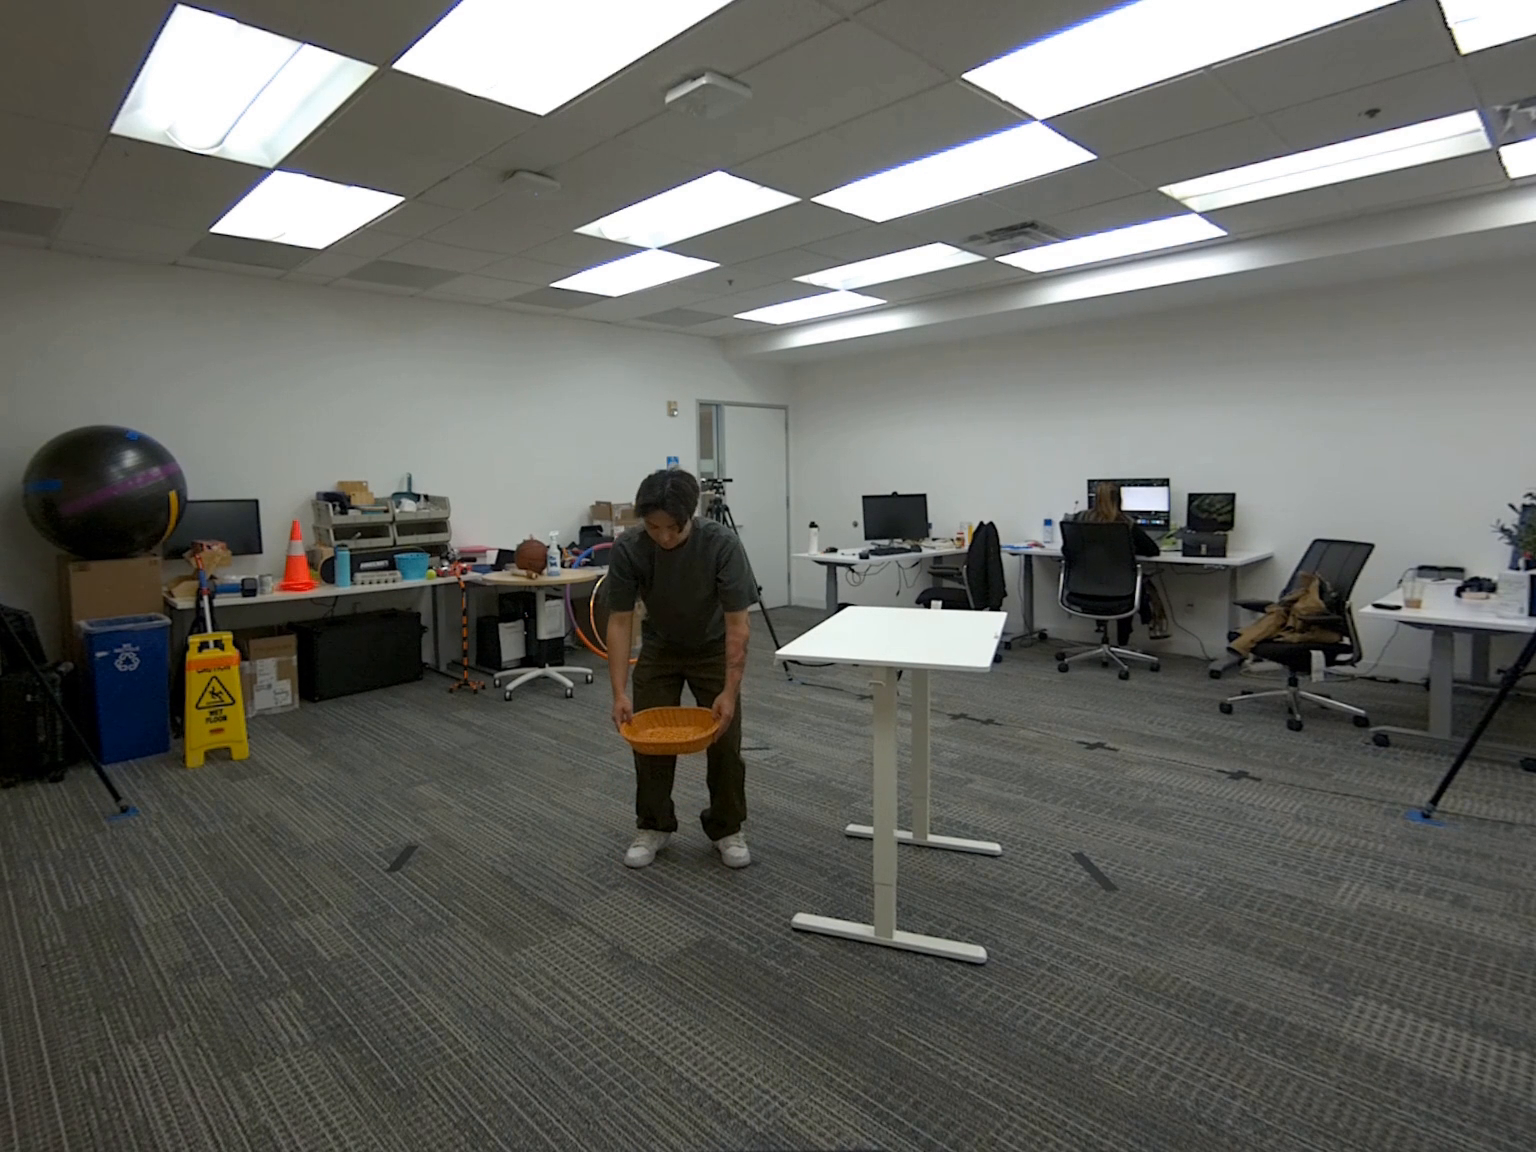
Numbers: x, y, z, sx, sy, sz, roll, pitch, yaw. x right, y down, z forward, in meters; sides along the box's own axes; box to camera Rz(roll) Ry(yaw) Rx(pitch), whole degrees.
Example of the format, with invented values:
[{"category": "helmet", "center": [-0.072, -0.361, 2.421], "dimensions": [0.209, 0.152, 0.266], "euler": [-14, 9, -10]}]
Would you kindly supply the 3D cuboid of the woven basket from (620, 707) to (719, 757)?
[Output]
[{"category": "woven basket", "center": [-0.330, 0.535, 2.887], "dimensions": [0.356, 0.072, 0.252], "euler": [-4, 16, 16]}]
